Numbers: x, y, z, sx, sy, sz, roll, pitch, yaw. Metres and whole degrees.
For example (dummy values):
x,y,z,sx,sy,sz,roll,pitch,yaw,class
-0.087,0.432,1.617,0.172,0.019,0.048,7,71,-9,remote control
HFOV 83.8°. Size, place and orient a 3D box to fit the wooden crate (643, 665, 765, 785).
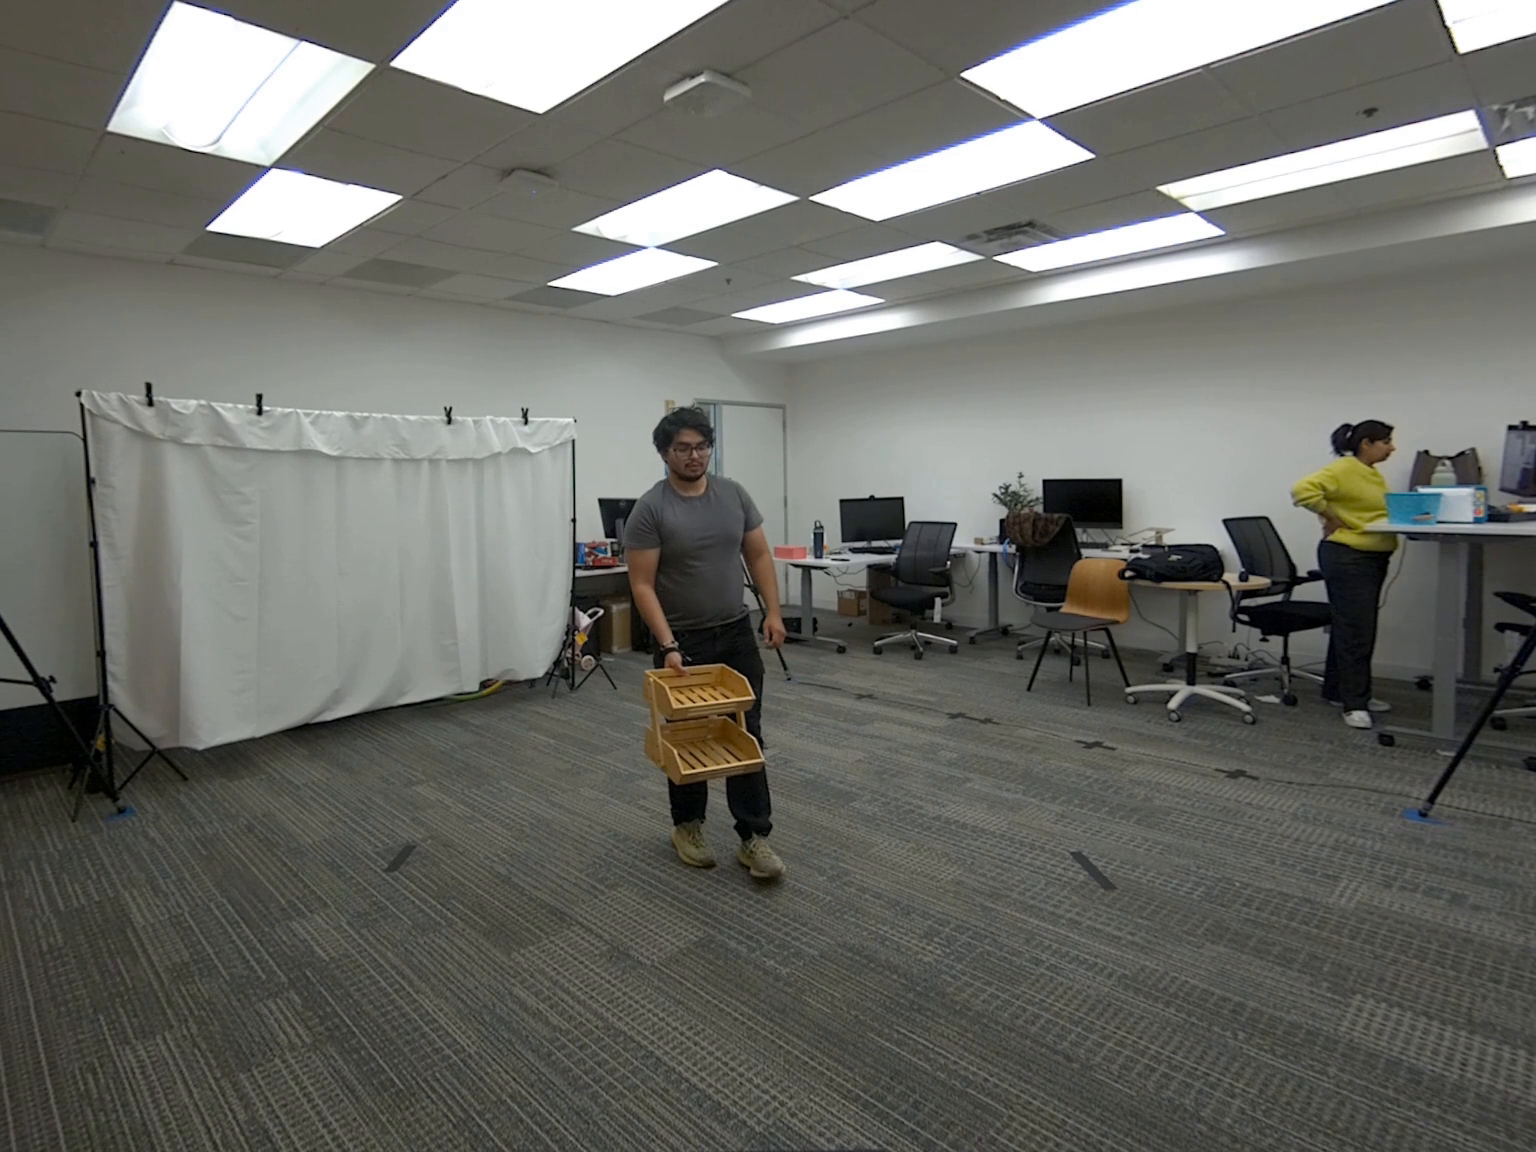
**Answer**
x,y,z,sx,sy,sz,roll,pitch,yaw,class
-0.203,0.462,2.718,0.316,0.271,0.312,0,13,-34,wooden crate
